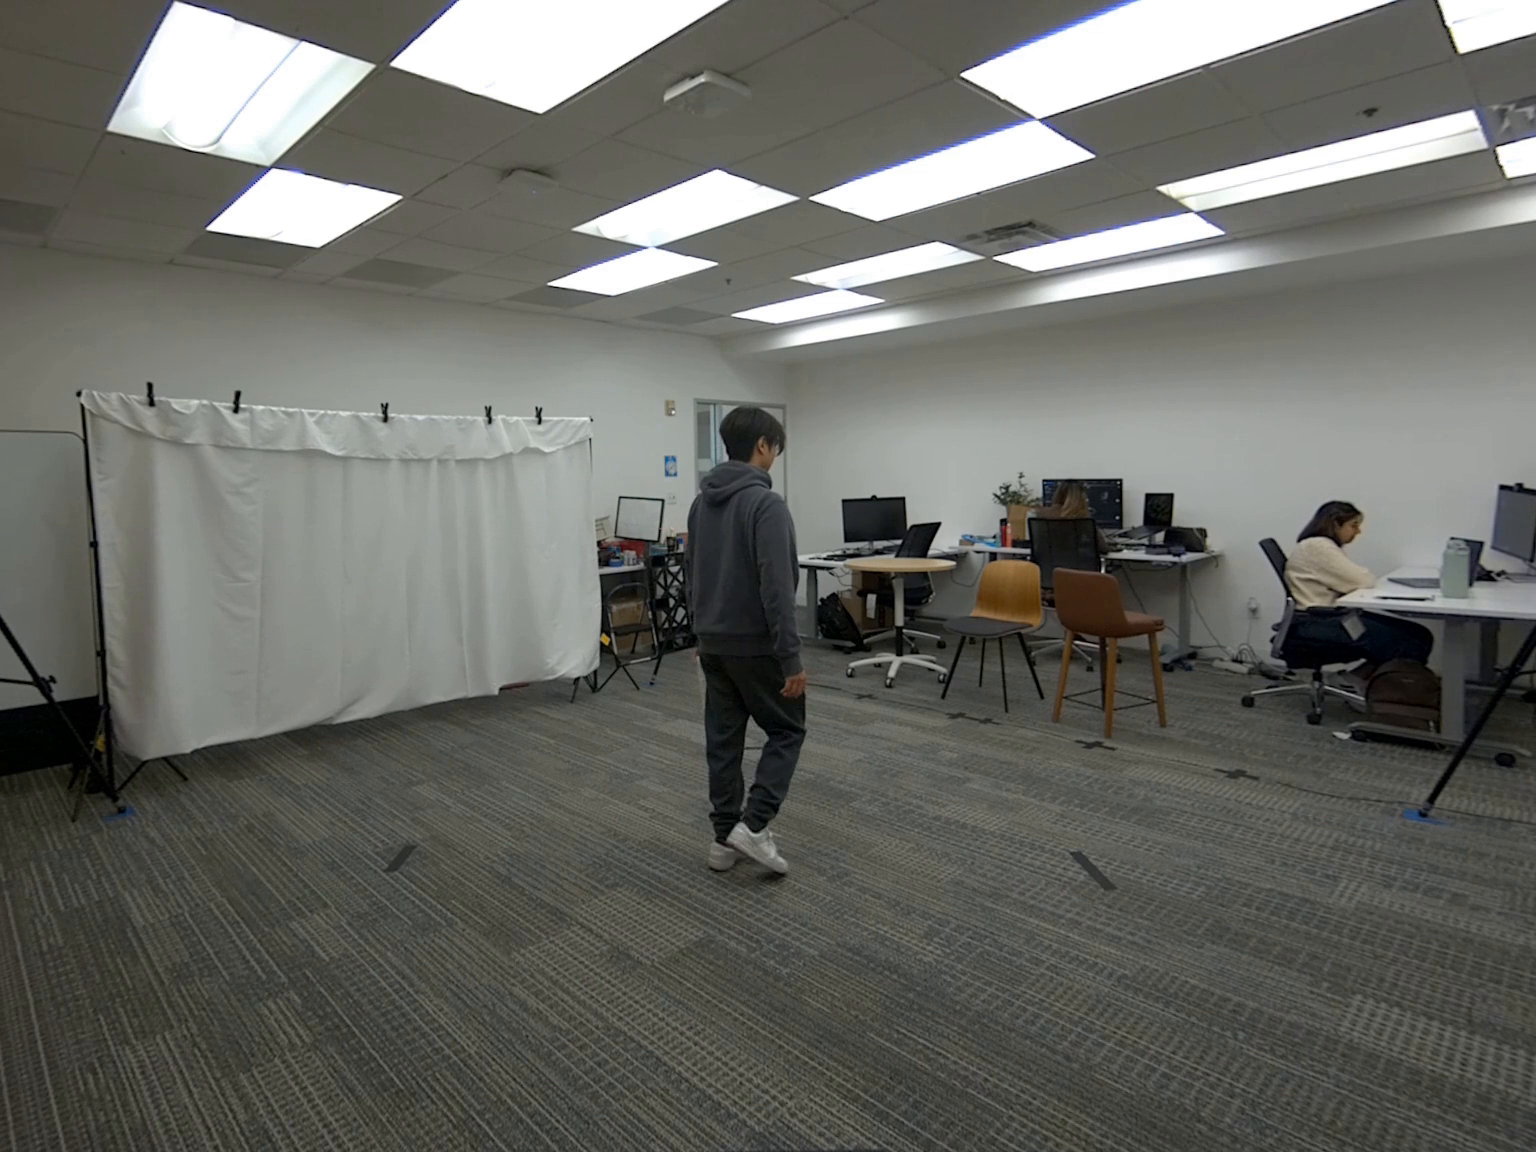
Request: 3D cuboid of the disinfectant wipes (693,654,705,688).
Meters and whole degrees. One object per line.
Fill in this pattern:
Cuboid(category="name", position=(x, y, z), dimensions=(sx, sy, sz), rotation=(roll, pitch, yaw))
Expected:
Cuboid(category="disinfectant wipes", position=(-0.204, 0.416, 3.359), dimensions=(0.117, 0.218, 0.117), rotation=(-6, -4, -2))
